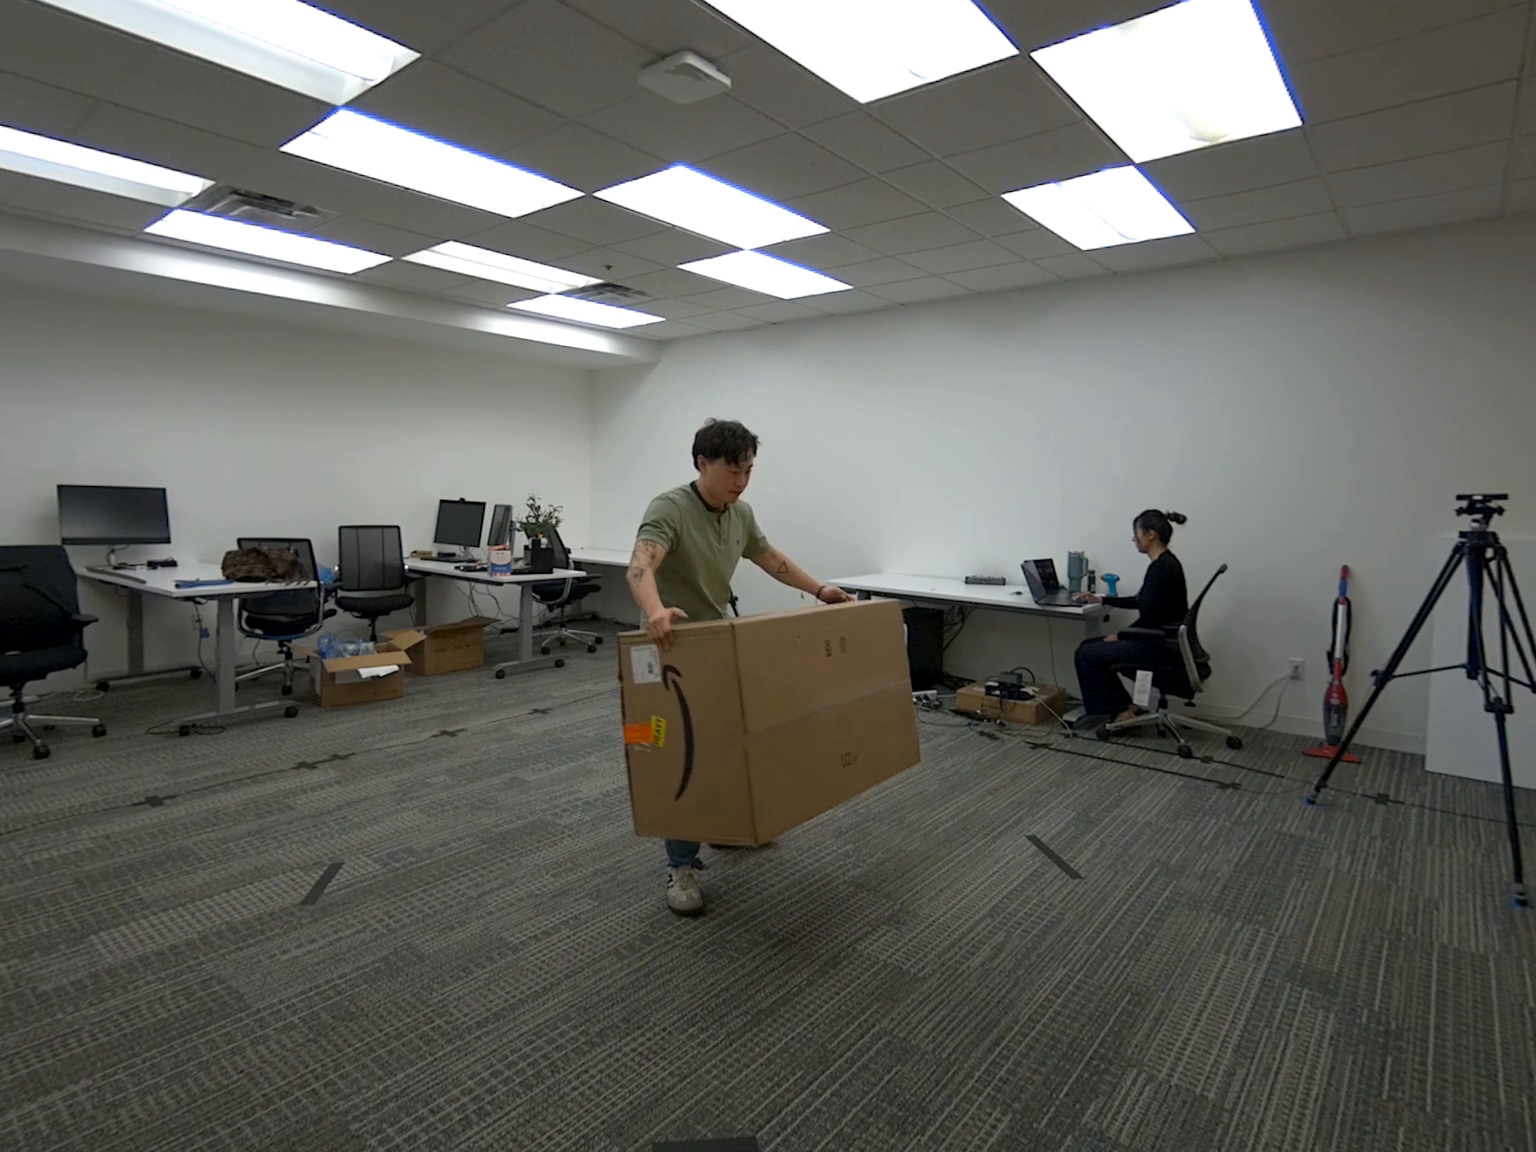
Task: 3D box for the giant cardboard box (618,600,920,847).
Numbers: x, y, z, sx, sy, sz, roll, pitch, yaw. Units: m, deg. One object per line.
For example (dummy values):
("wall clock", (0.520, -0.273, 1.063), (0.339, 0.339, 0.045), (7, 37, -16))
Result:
("giant cardboard box", (0.042, 0.403, 2.720), (0.437, 0.580, 0.996), (-9, -4, 35))
